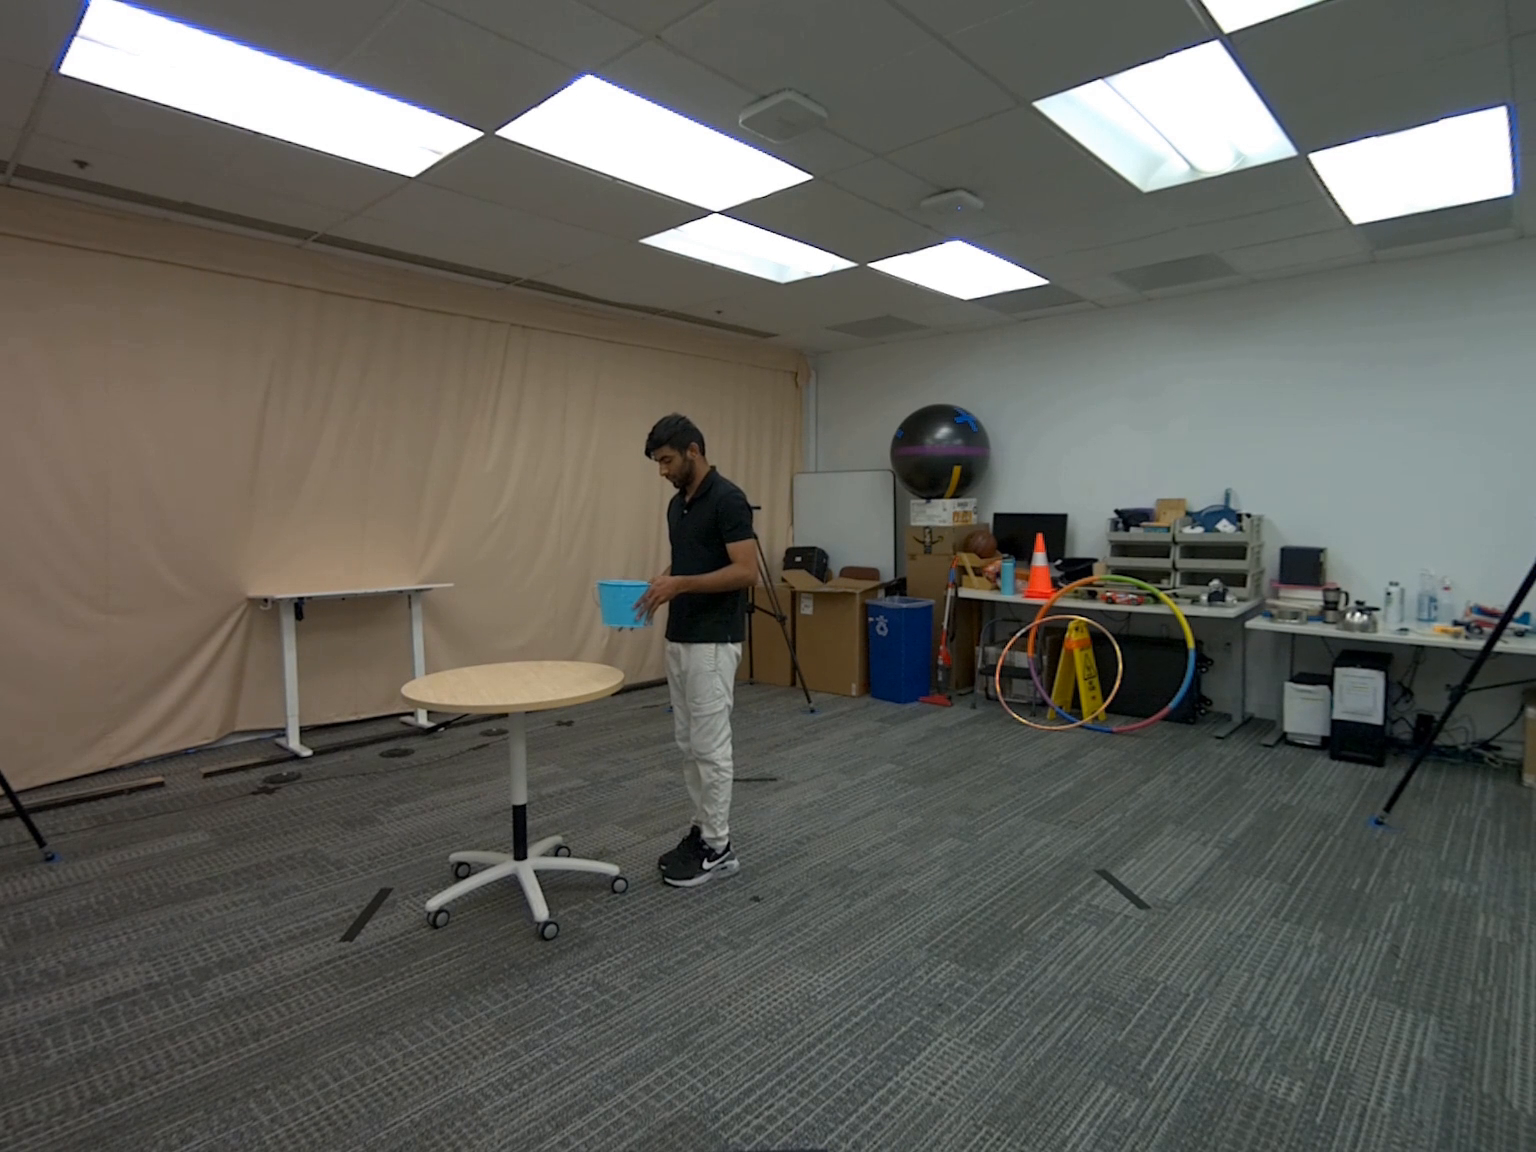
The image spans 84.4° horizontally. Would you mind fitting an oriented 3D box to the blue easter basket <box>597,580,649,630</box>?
[{"bbox_3d":[-0.506,0.100,3.070,0.243,0.156,0.244,1,3,-2],"label":"blue easter basket"}]
